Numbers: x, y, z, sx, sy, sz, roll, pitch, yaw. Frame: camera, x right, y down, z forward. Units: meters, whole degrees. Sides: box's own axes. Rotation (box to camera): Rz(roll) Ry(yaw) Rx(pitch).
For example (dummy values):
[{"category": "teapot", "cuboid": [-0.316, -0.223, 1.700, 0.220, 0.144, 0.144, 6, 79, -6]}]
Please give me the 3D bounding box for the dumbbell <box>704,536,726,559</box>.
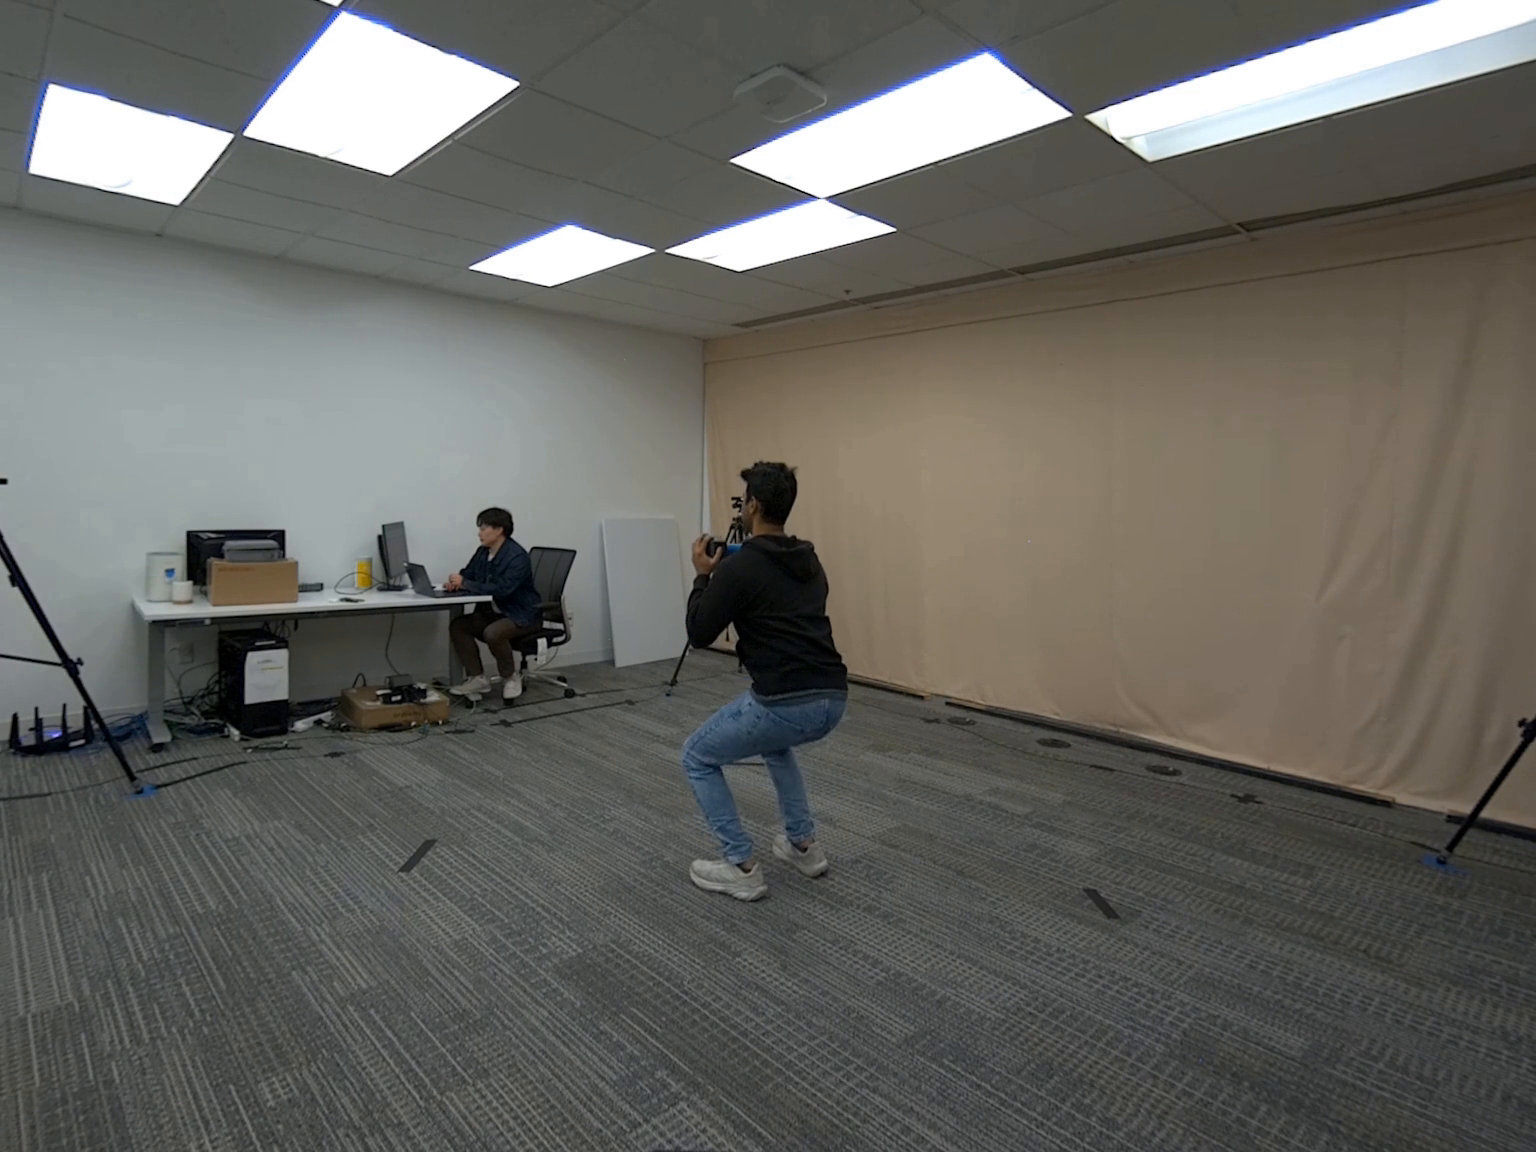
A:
[{"category": "dumbbell", "cuboid": [-0.129, -0.088, 3.244, 0.287, 0.123, 0.111, -2, -3, -42]}]
